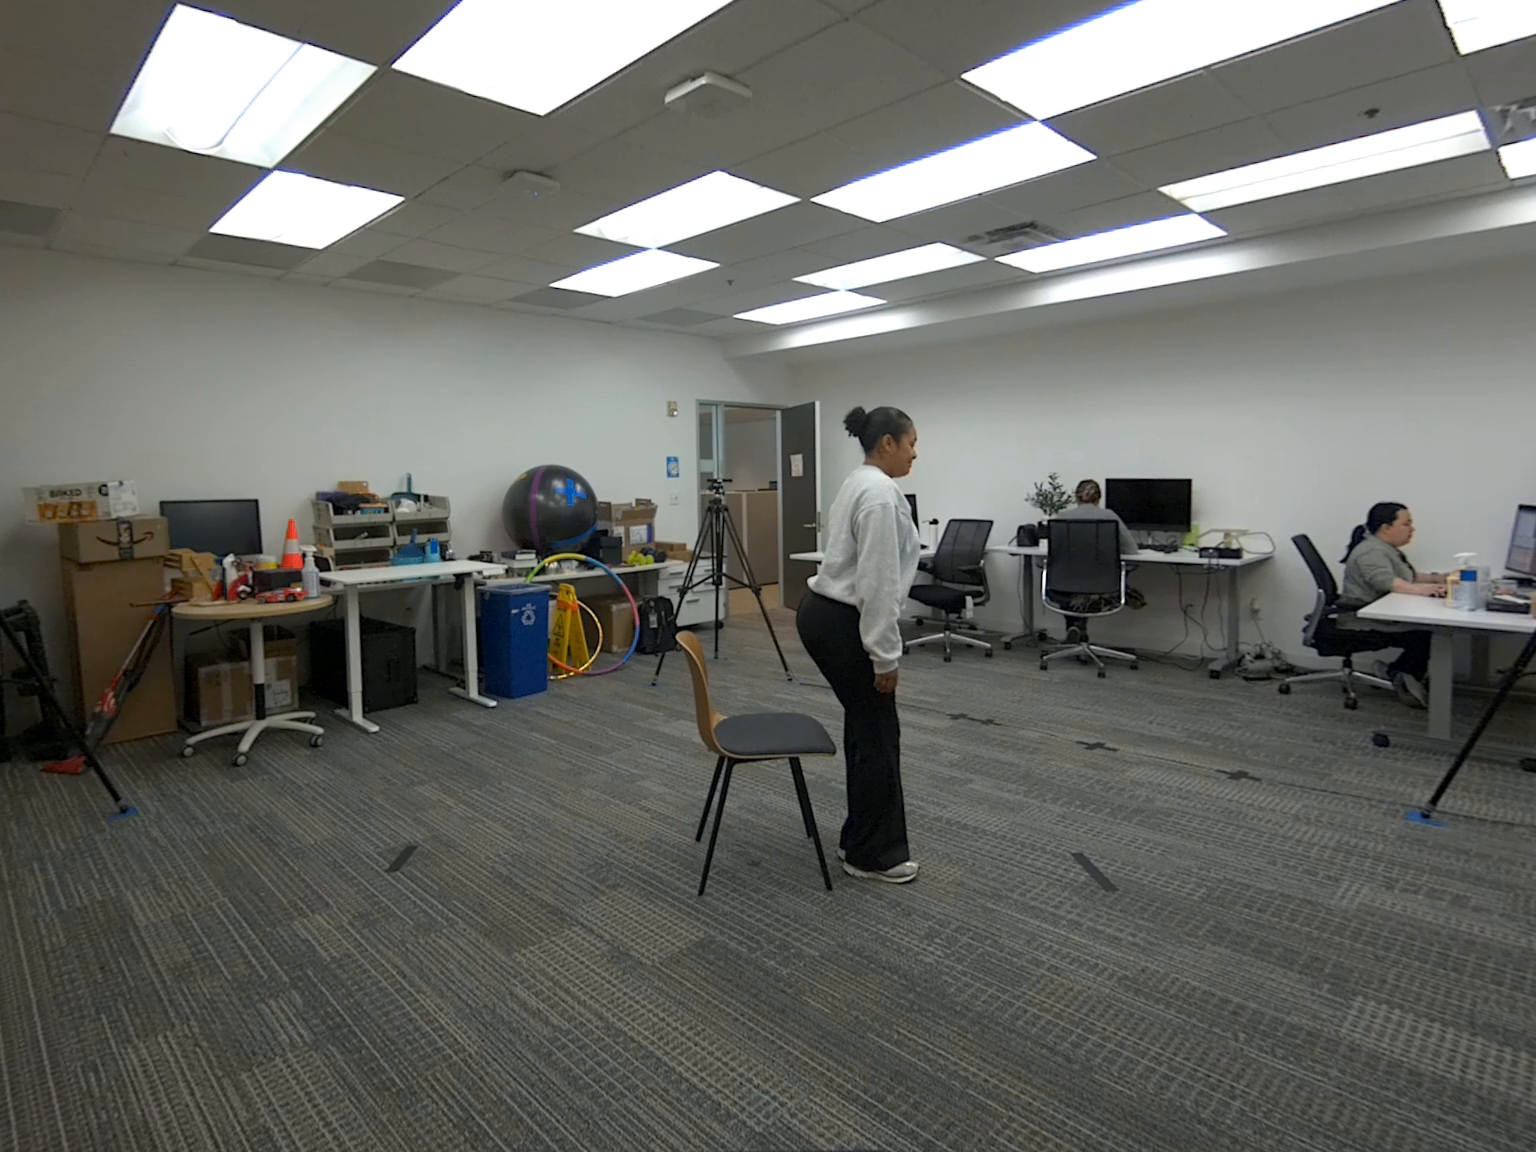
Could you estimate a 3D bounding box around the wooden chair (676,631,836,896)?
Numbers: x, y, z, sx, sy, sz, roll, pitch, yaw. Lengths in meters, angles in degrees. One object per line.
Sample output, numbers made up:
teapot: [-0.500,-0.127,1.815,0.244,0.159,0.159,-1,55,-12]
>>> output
wooden chair: [-0.030,0.617,3.071,0.521,0.874,0.482,-5,4,-5]
